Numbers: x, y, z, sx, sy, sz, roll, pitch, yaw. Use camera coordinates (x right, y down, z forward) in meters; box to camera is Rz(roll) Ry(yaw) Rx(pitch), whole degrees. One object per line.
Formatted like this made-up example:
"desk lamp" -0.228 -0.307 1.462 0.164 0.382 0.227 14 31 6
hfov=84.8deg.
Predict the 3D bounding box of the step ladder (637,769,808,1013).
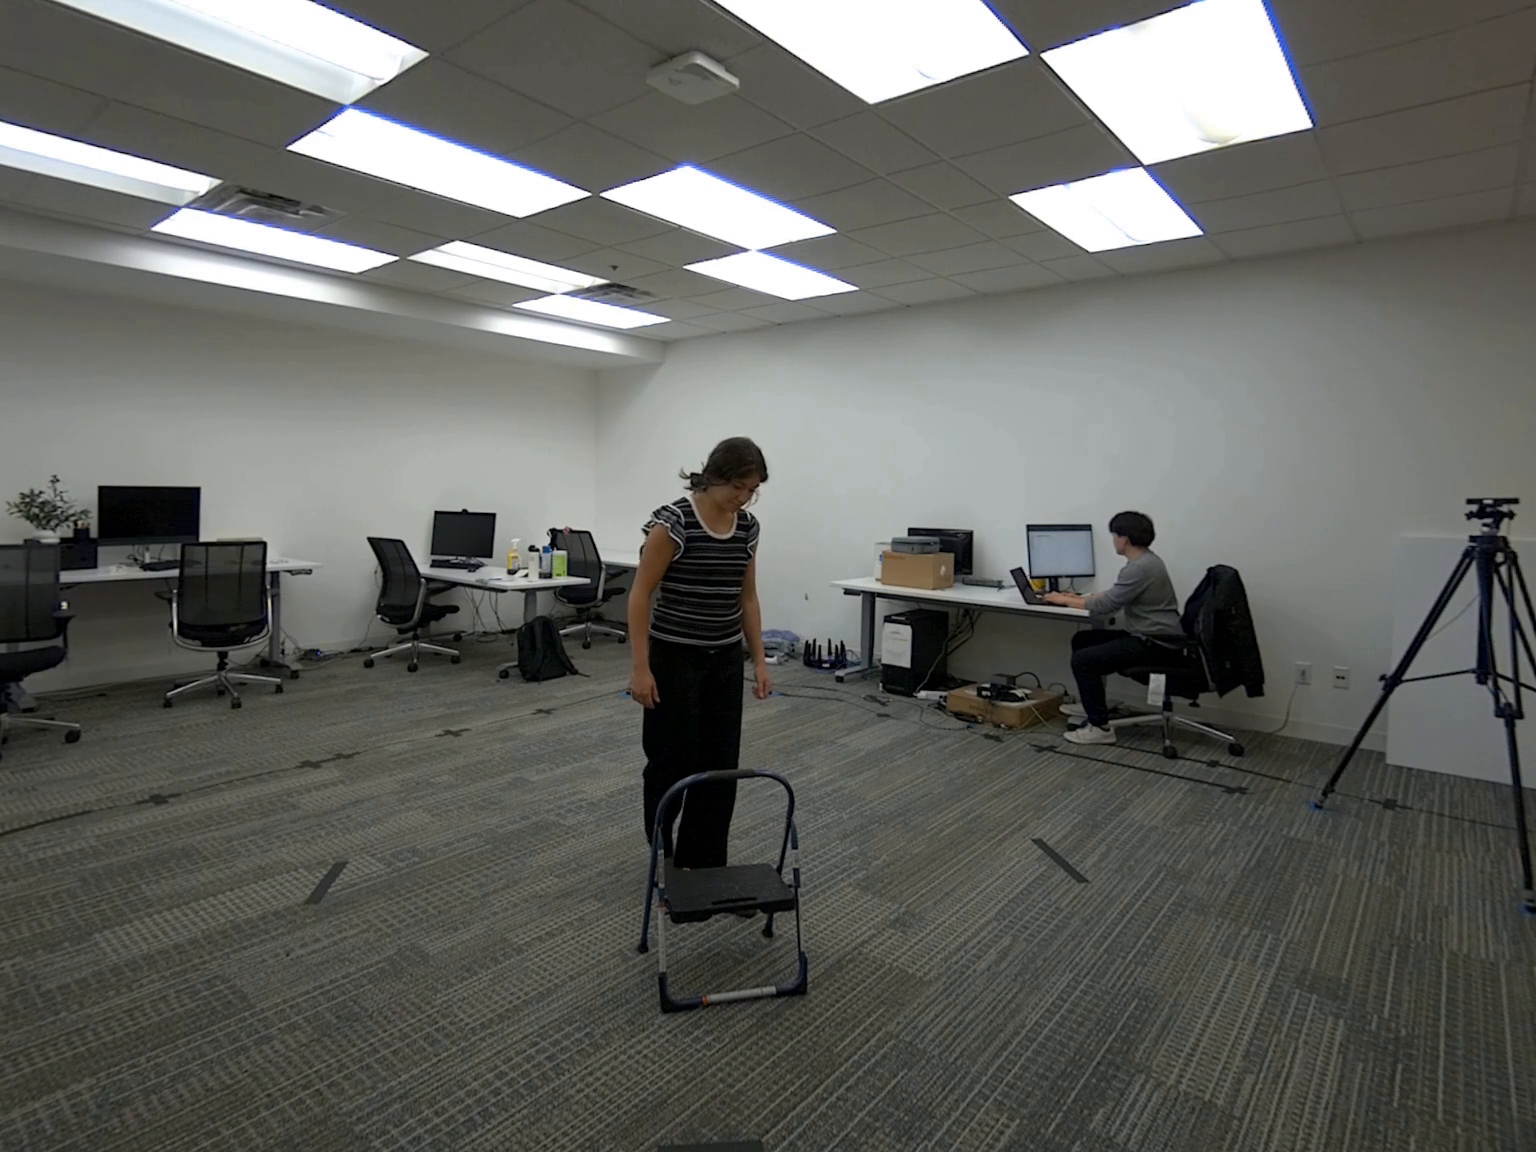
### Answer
"step ladder" -0.140 0.836 2.443 0.423 0.604 0.356 0 3 -17
